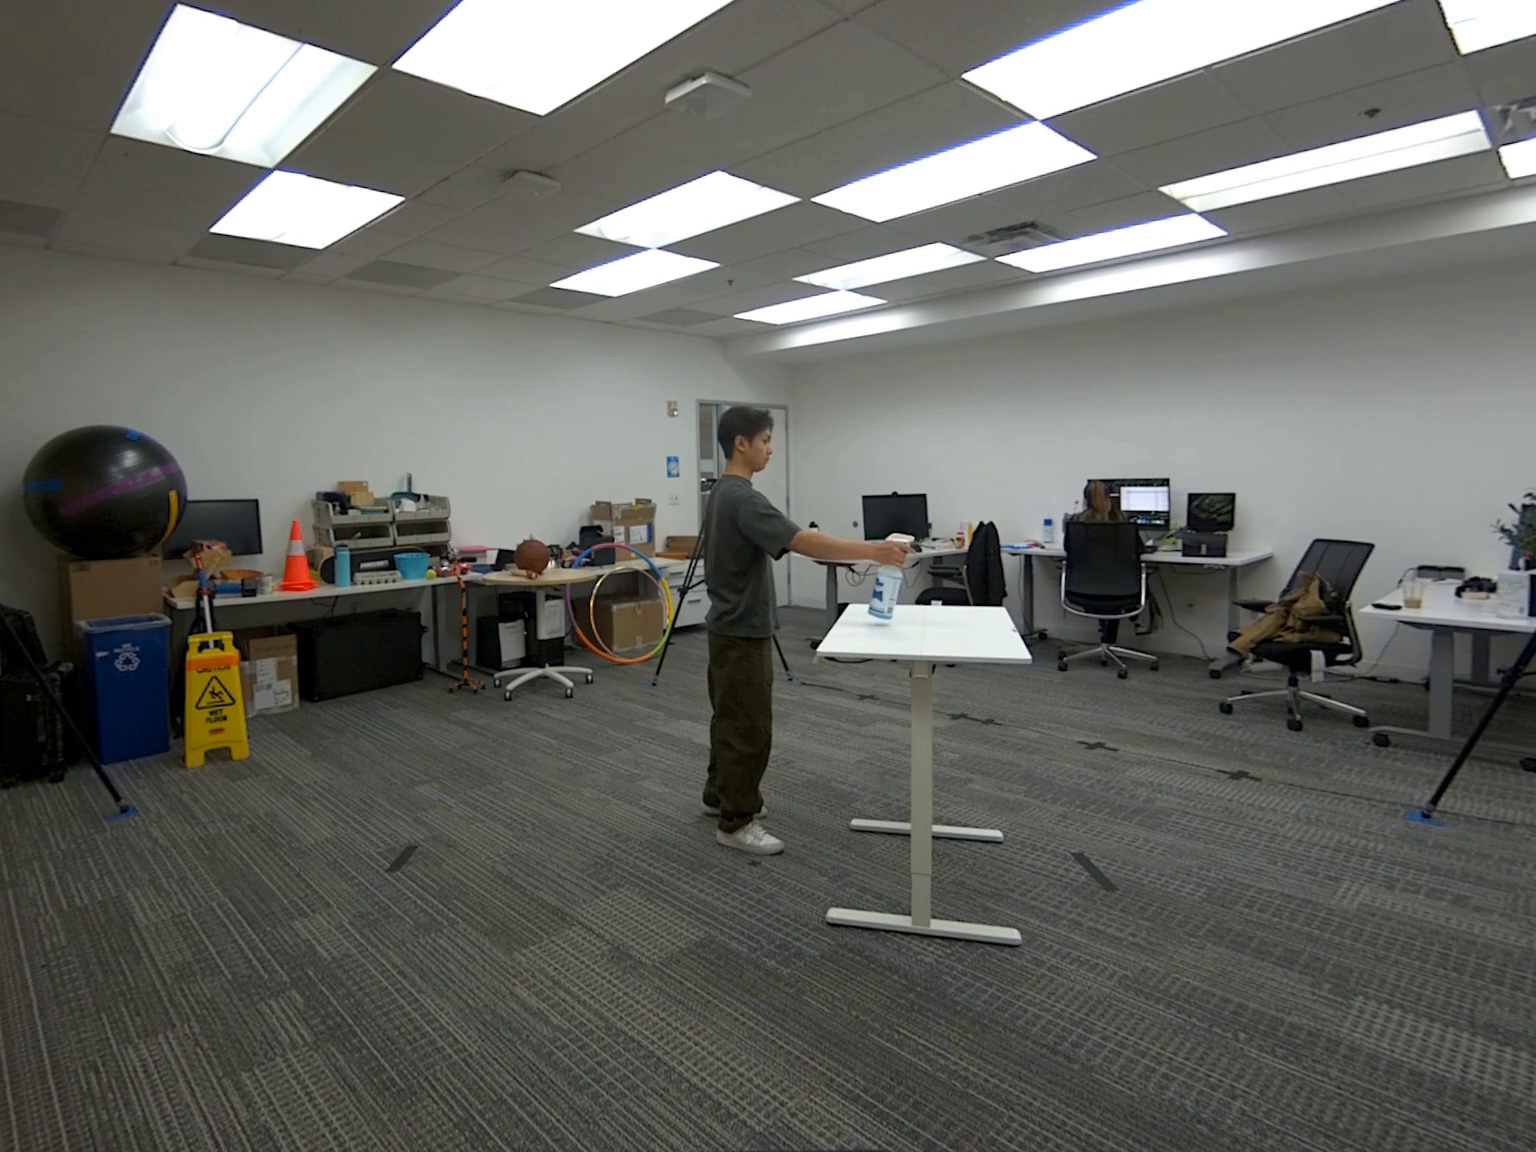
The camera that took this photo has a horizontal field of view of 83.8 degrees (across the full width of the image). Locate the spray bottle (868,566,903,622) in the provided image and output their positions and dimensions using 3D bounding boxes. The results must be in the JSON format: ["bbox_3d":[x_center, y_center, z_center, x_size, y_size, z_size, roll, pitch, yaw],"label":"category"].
[{"bbox_3d":[0.419,-0.001,2.947,0.092,0.296,0.085,15,6,26],"label":"spray bottle"}]
